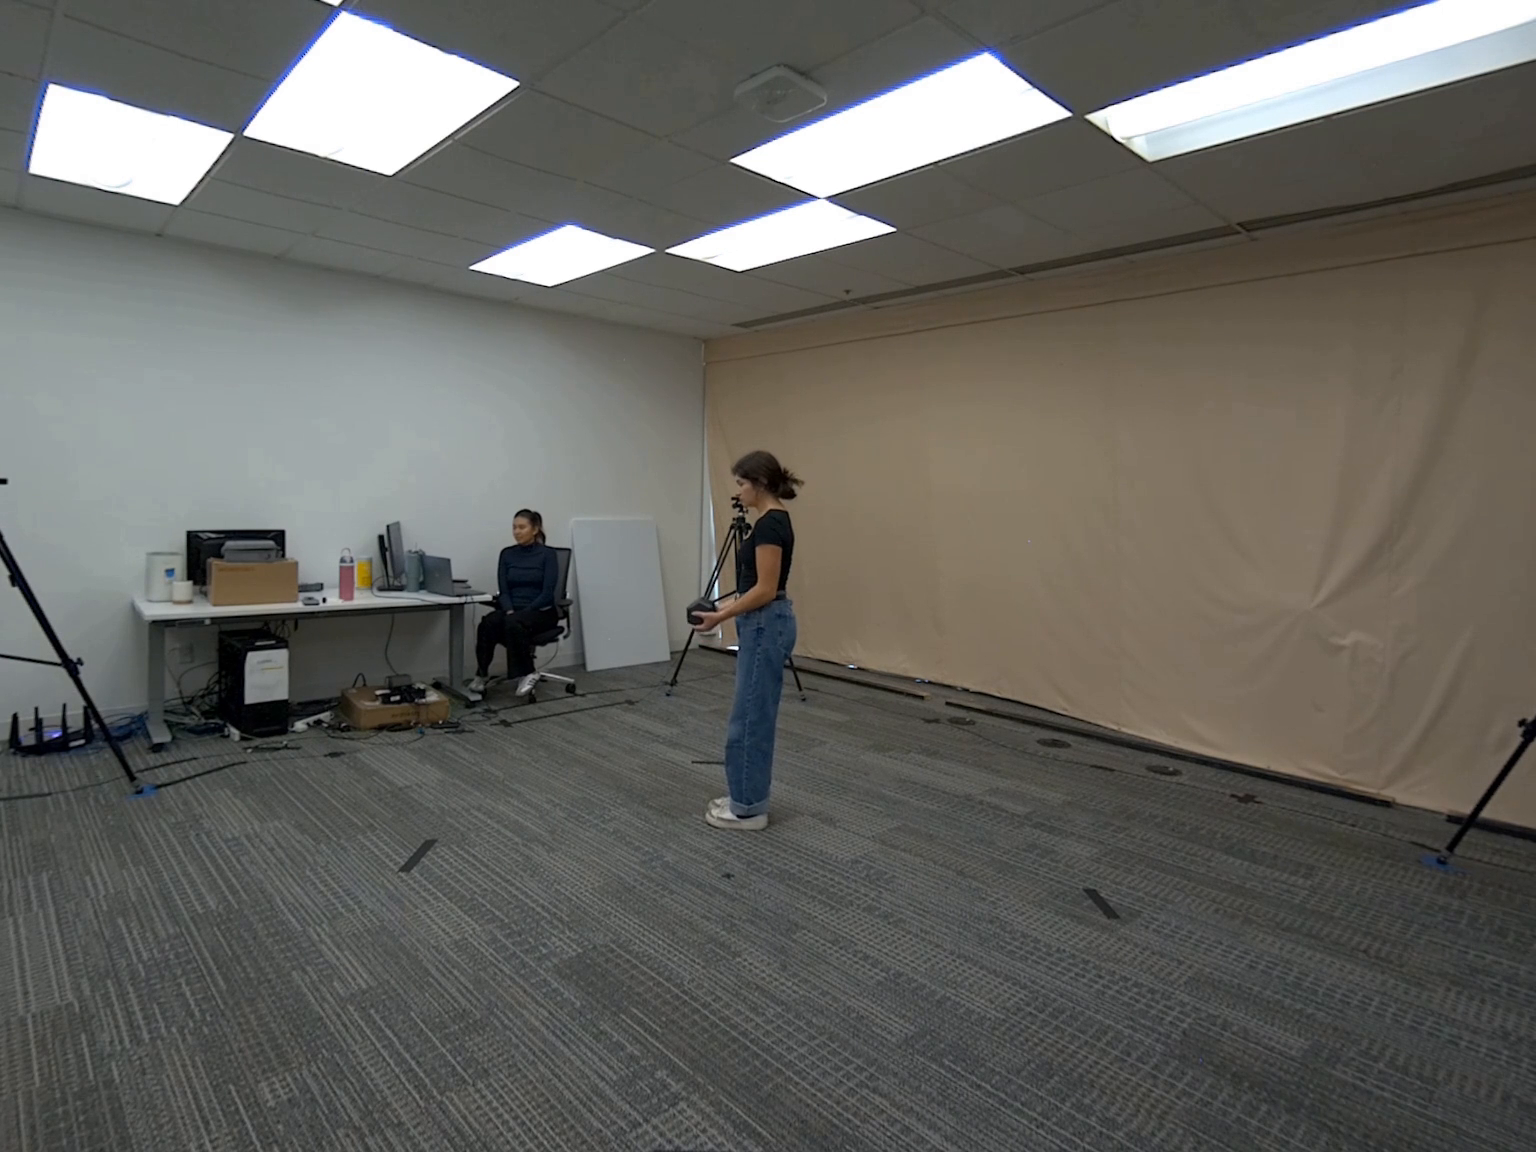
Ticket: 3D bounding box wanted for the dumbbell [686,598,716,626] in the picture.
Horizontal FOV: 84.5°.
[{"bbox_3d":[-0.290,0.138,3.634,0.123,0.108,0.294,23,2,-1],"label":"dumbbell"}]
